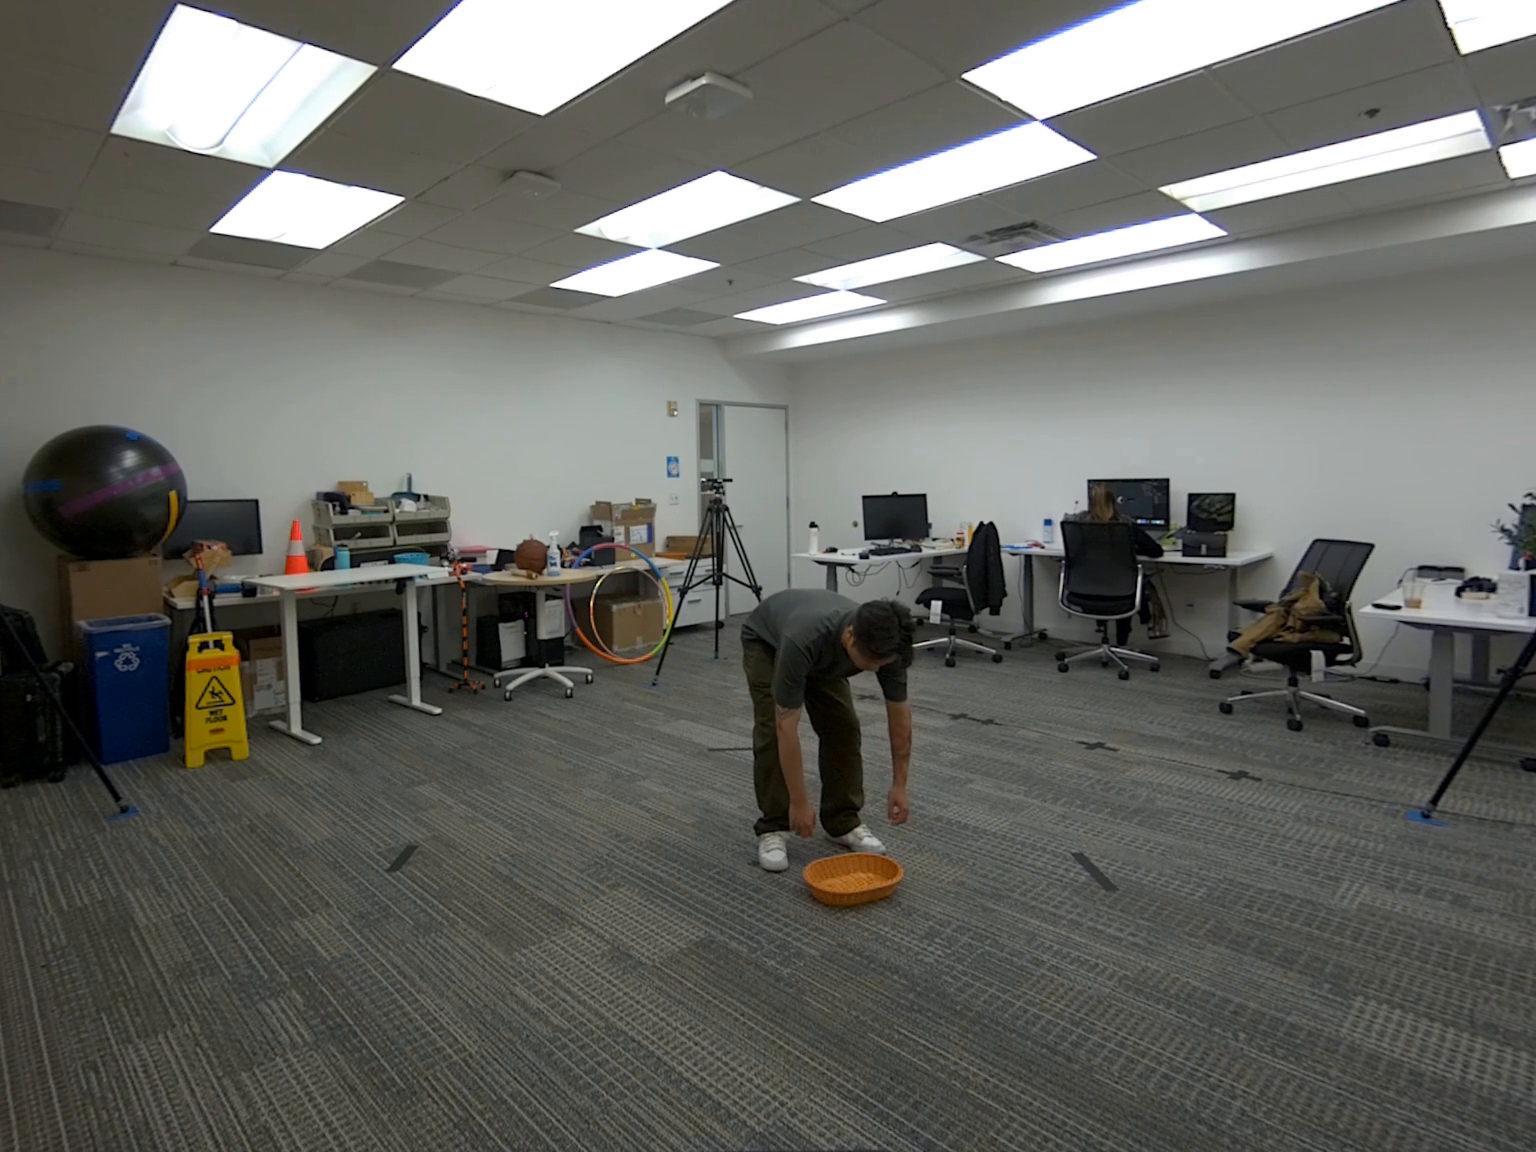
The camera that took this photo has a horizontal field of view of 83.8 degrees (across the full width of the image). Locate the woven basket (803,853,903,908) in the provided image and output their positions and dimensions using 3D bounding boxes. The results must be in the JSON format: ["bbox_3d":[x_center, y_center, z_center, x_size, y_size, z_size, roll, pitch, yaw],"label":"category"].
[{"bbox_3d":[0.286,1.026,2.878,0.344,0.073,0.258,-4,7,-22],"label":"woven basket"}]
